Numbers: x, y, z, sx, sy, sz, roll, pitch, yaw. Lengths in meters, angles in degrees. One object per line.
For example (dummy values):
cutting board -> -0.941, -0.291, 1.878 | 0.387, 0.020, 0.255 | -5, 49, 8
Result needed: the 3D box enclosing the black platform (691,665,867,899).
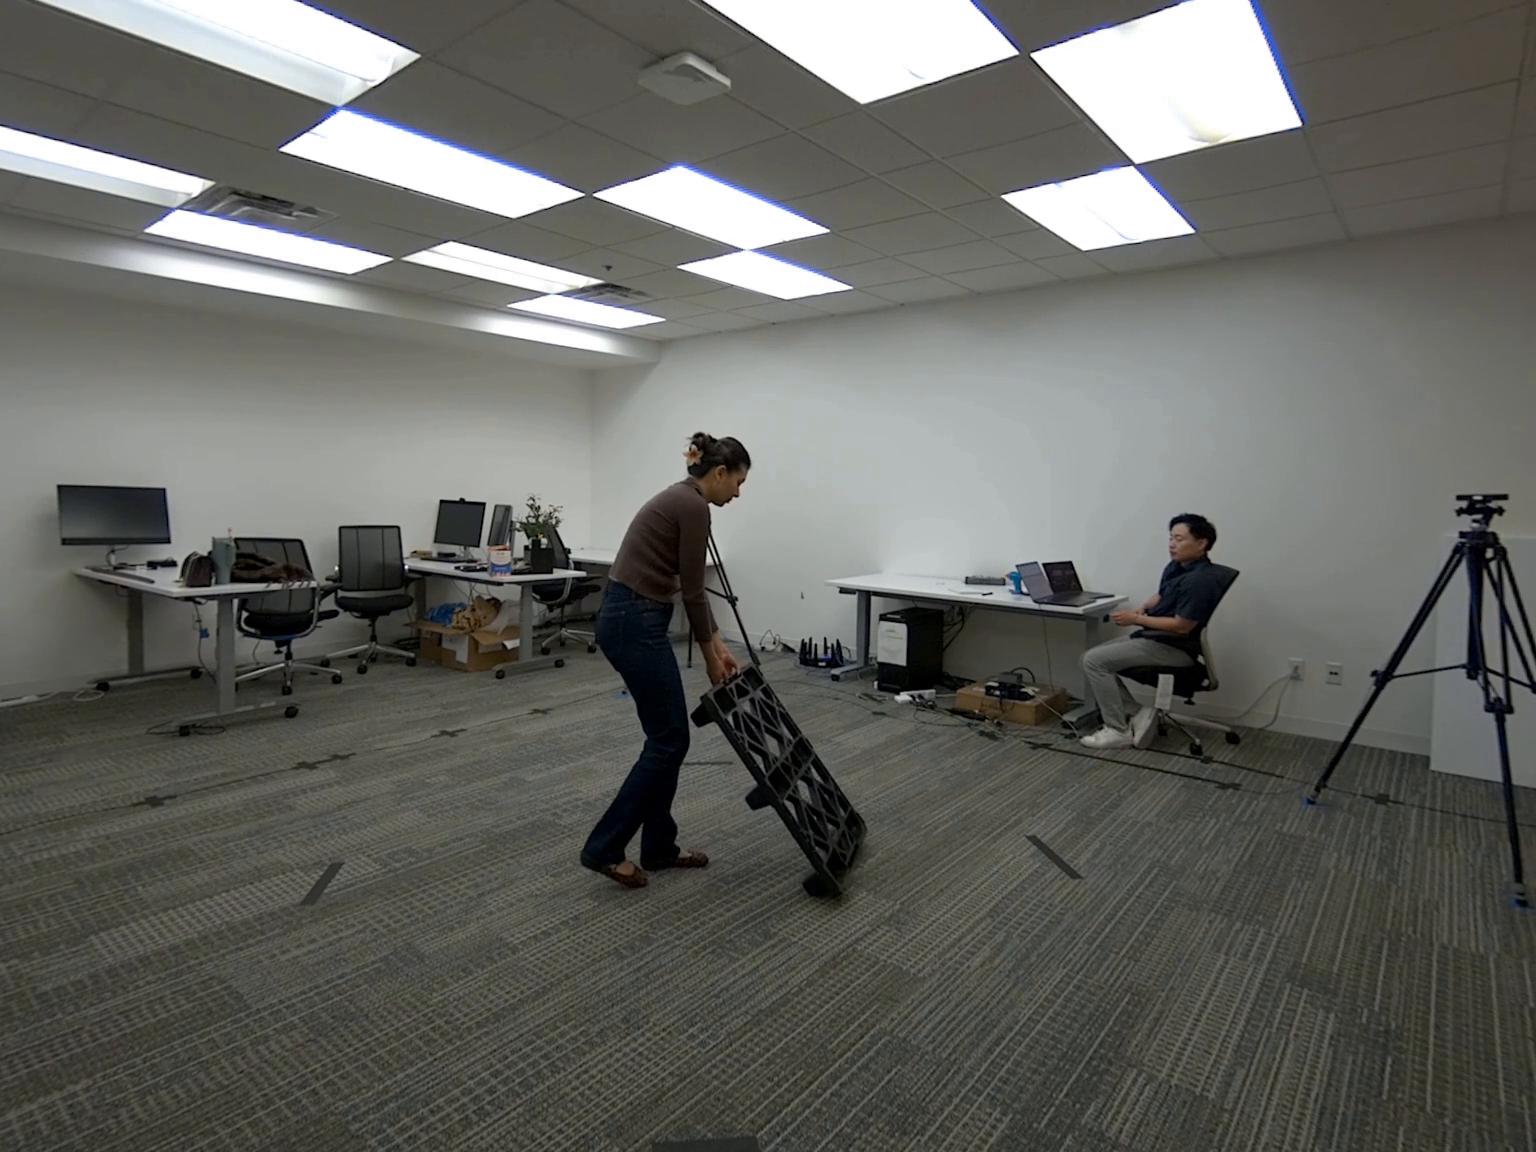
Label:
black platform -> 0.028, 0.731, 3.167 | 0.144, 0.815, 0.596 | -37, -7, 14
